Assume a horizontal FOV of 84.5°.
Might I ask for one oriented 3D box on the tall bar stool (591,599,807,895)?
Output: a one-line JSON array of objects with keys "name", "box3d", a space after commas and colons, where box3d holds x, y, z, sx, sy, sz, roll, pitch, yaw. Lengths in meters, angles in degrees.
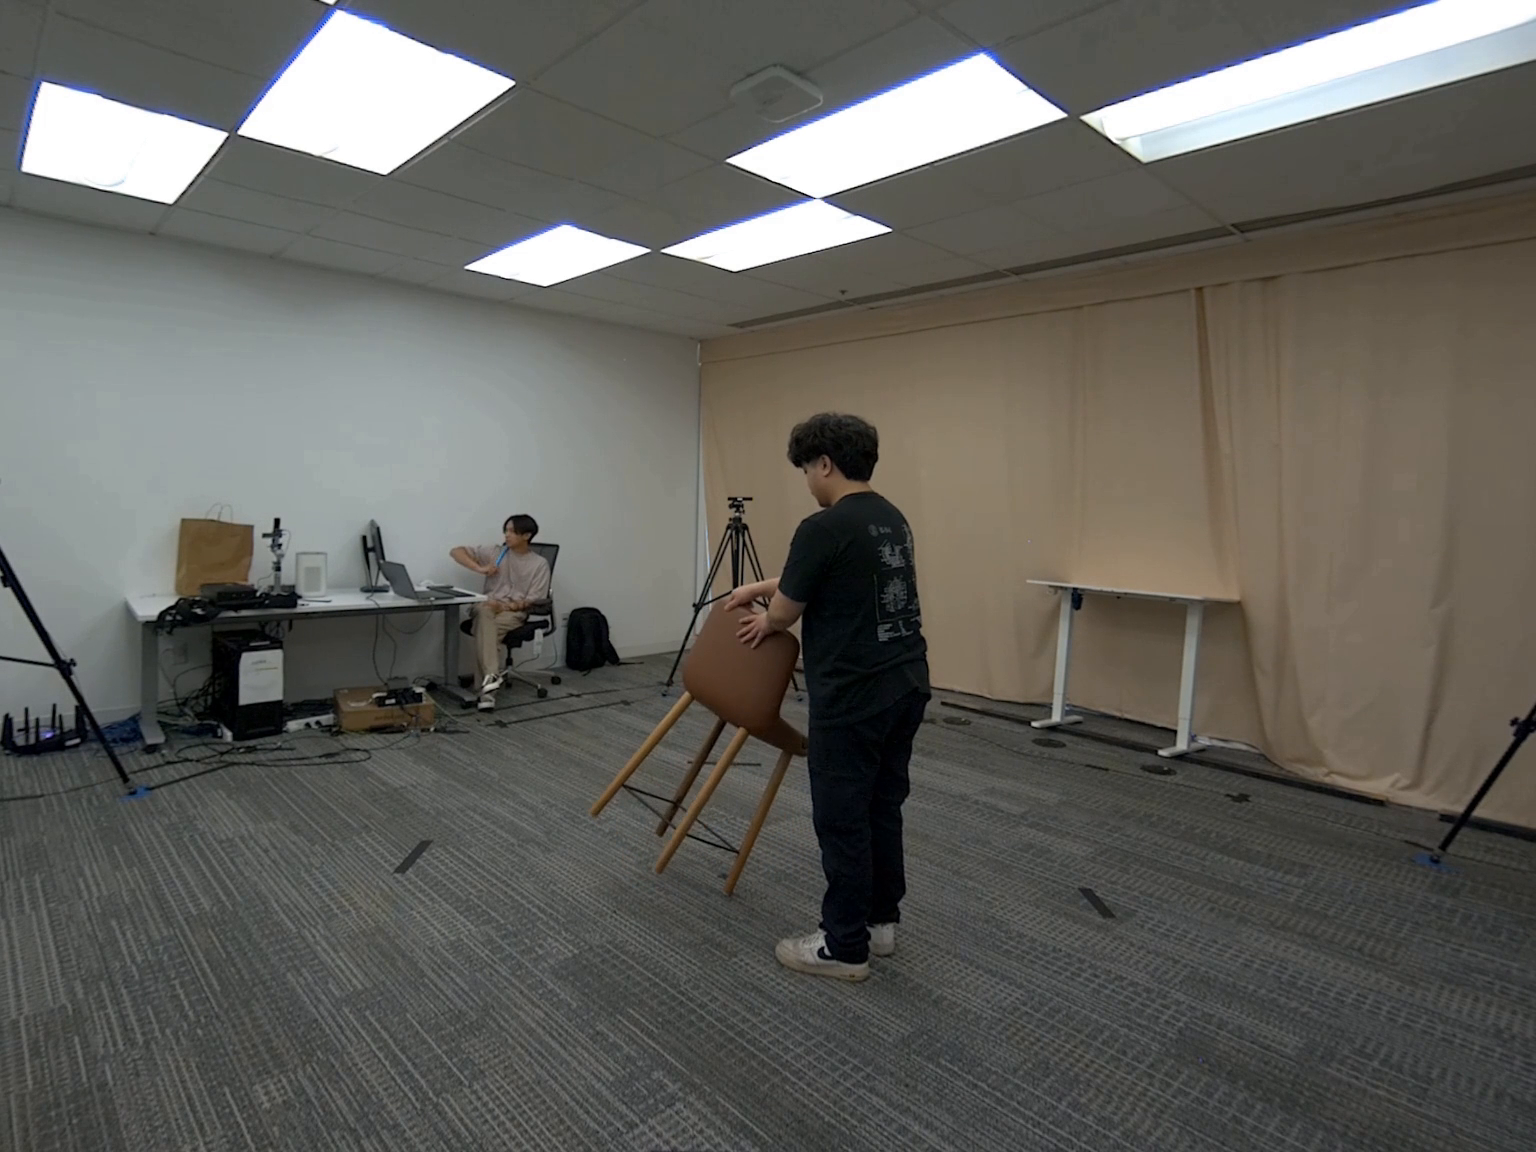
[{"name": "tall bar stool", "box3d": [-0.168, 0.593, 2.981, 0.470, 0.891, 0.453, 23, -10, 39]}]
